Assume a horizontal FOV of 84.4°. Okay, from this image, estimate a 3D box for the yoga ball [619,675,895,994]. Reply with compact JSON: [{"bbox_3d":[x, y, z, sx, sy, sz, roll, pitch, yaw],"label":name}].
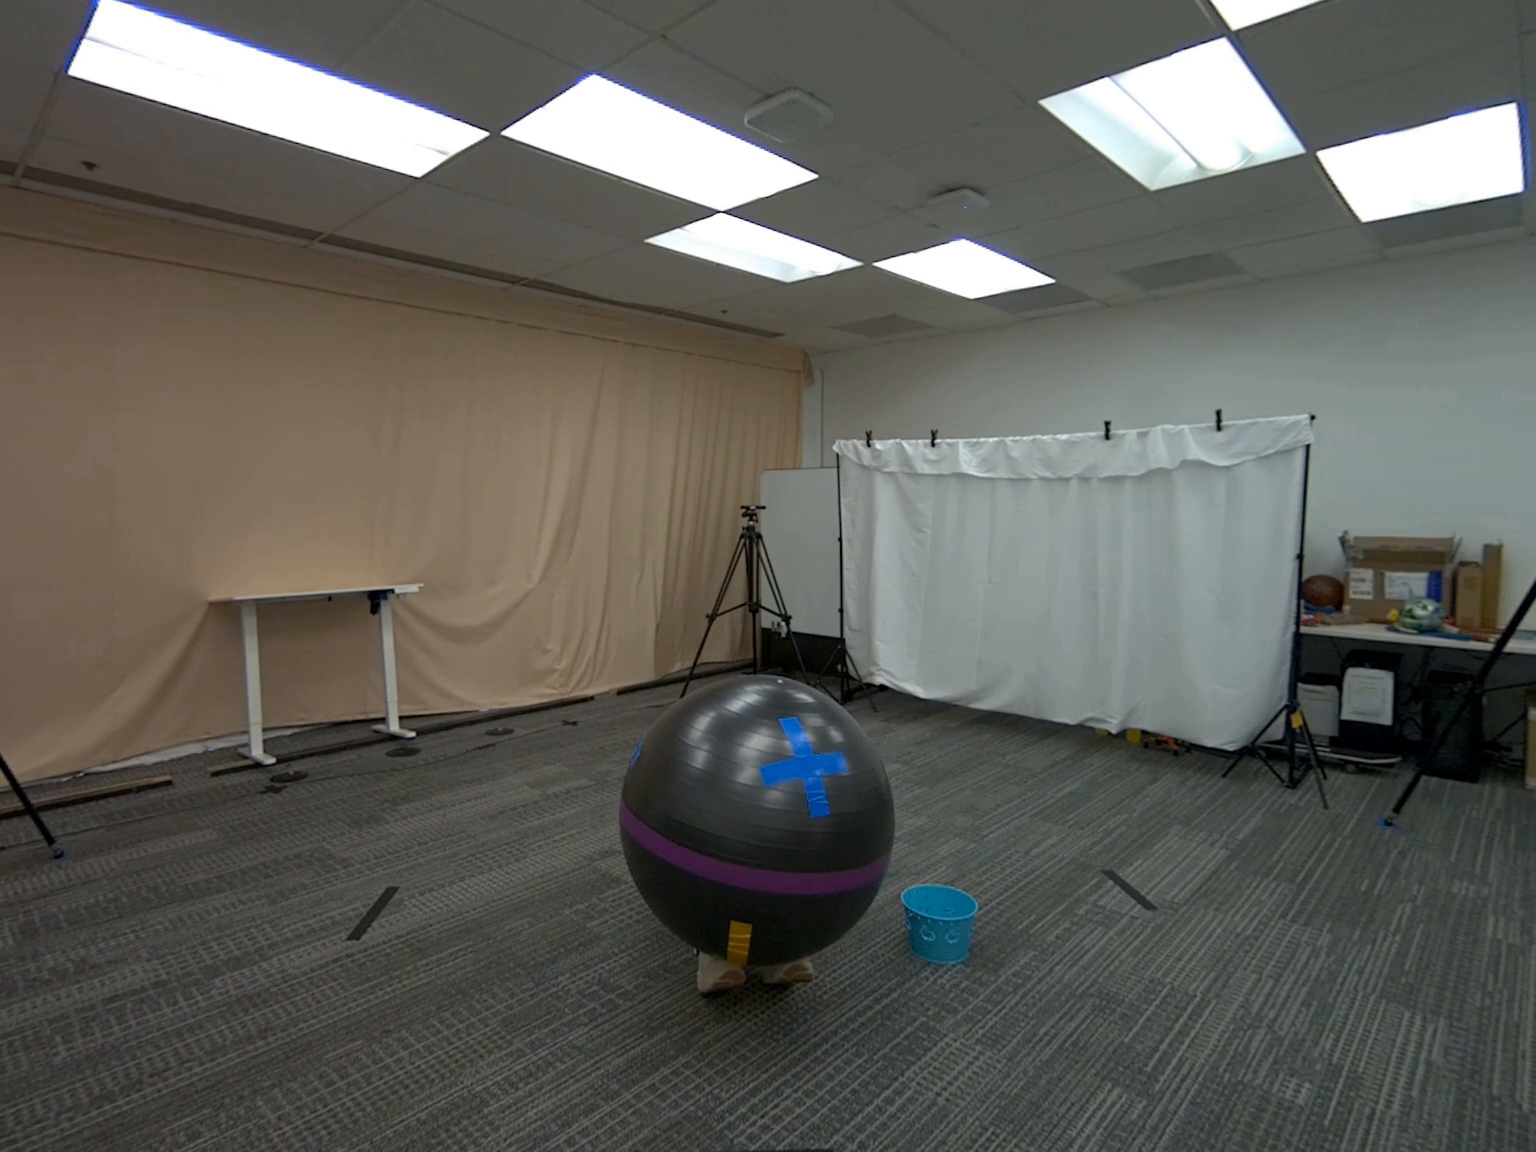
[{"bbox_3d":[-0.022,0.666,2.322,0.757,0.756,0.761,0,4,-2],"label":"yoga ball"}]
